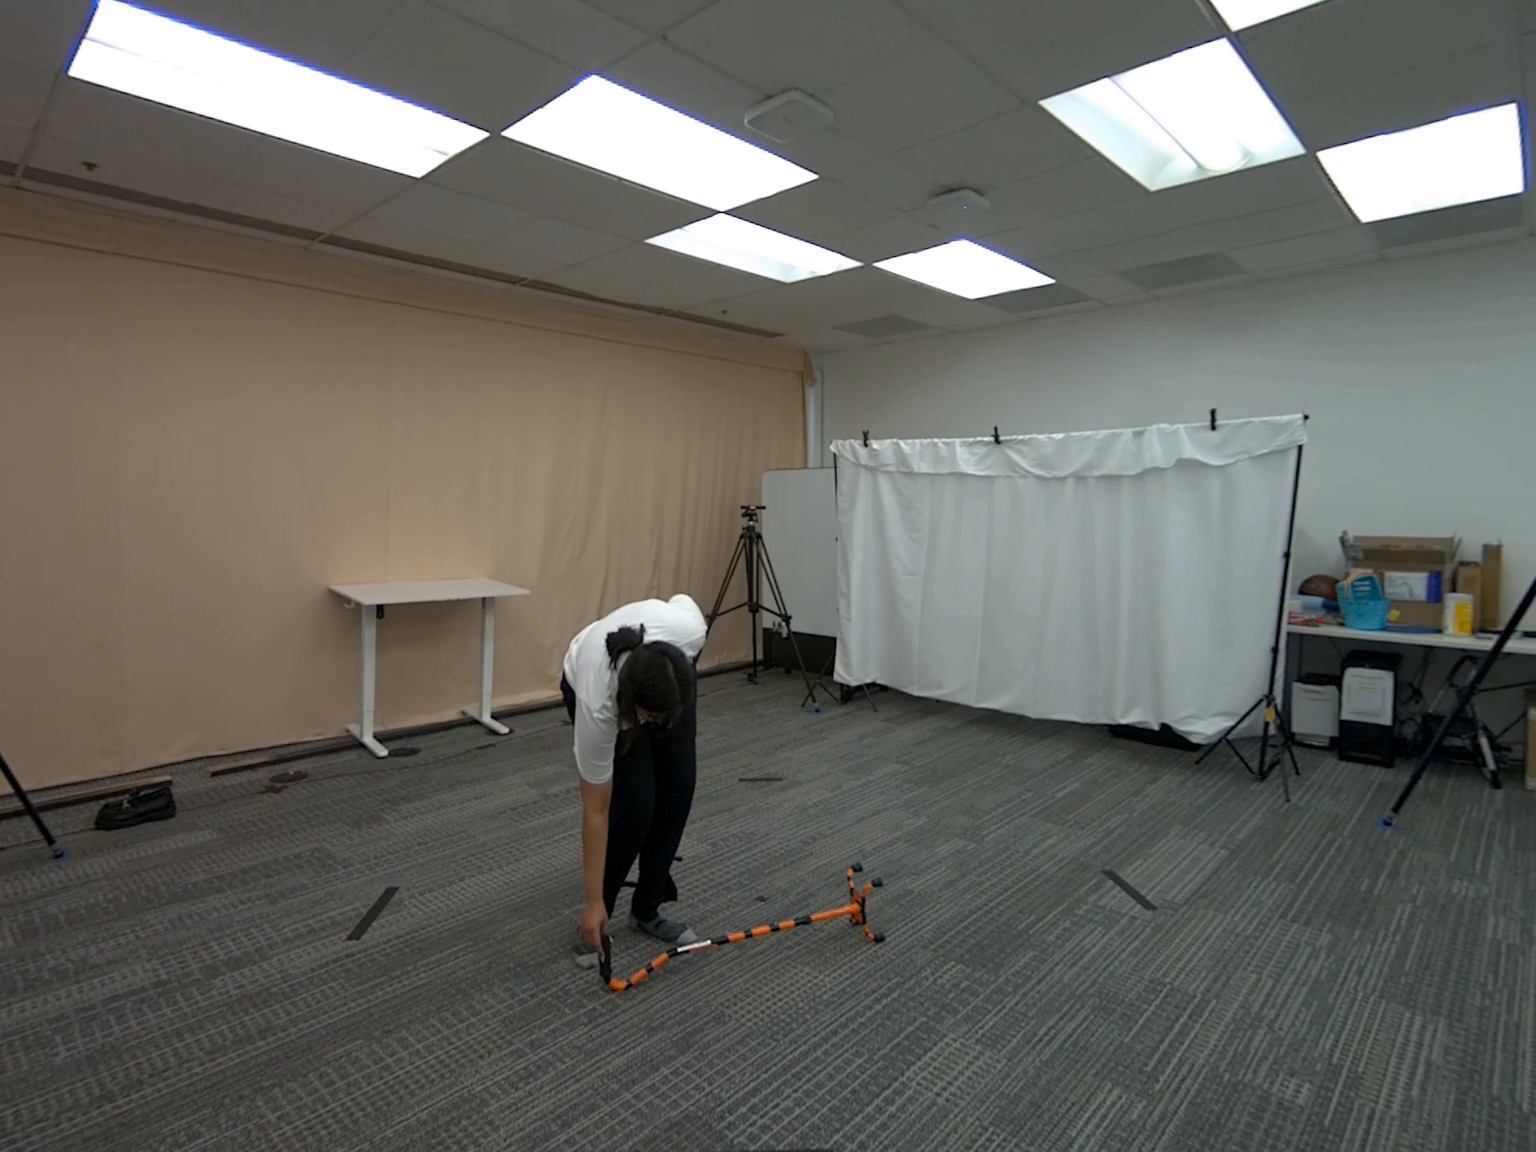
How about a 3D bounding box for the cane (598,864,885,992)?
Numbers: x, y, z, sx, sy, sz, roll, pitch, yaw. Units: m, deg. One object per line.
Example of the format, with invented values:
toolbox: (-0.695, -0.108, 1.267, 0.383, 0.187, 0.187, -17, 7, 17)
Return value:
cane: (-0.059, 1.082, 2.576, 0.889, 0.205, 0.155, -4, 8, -22)
